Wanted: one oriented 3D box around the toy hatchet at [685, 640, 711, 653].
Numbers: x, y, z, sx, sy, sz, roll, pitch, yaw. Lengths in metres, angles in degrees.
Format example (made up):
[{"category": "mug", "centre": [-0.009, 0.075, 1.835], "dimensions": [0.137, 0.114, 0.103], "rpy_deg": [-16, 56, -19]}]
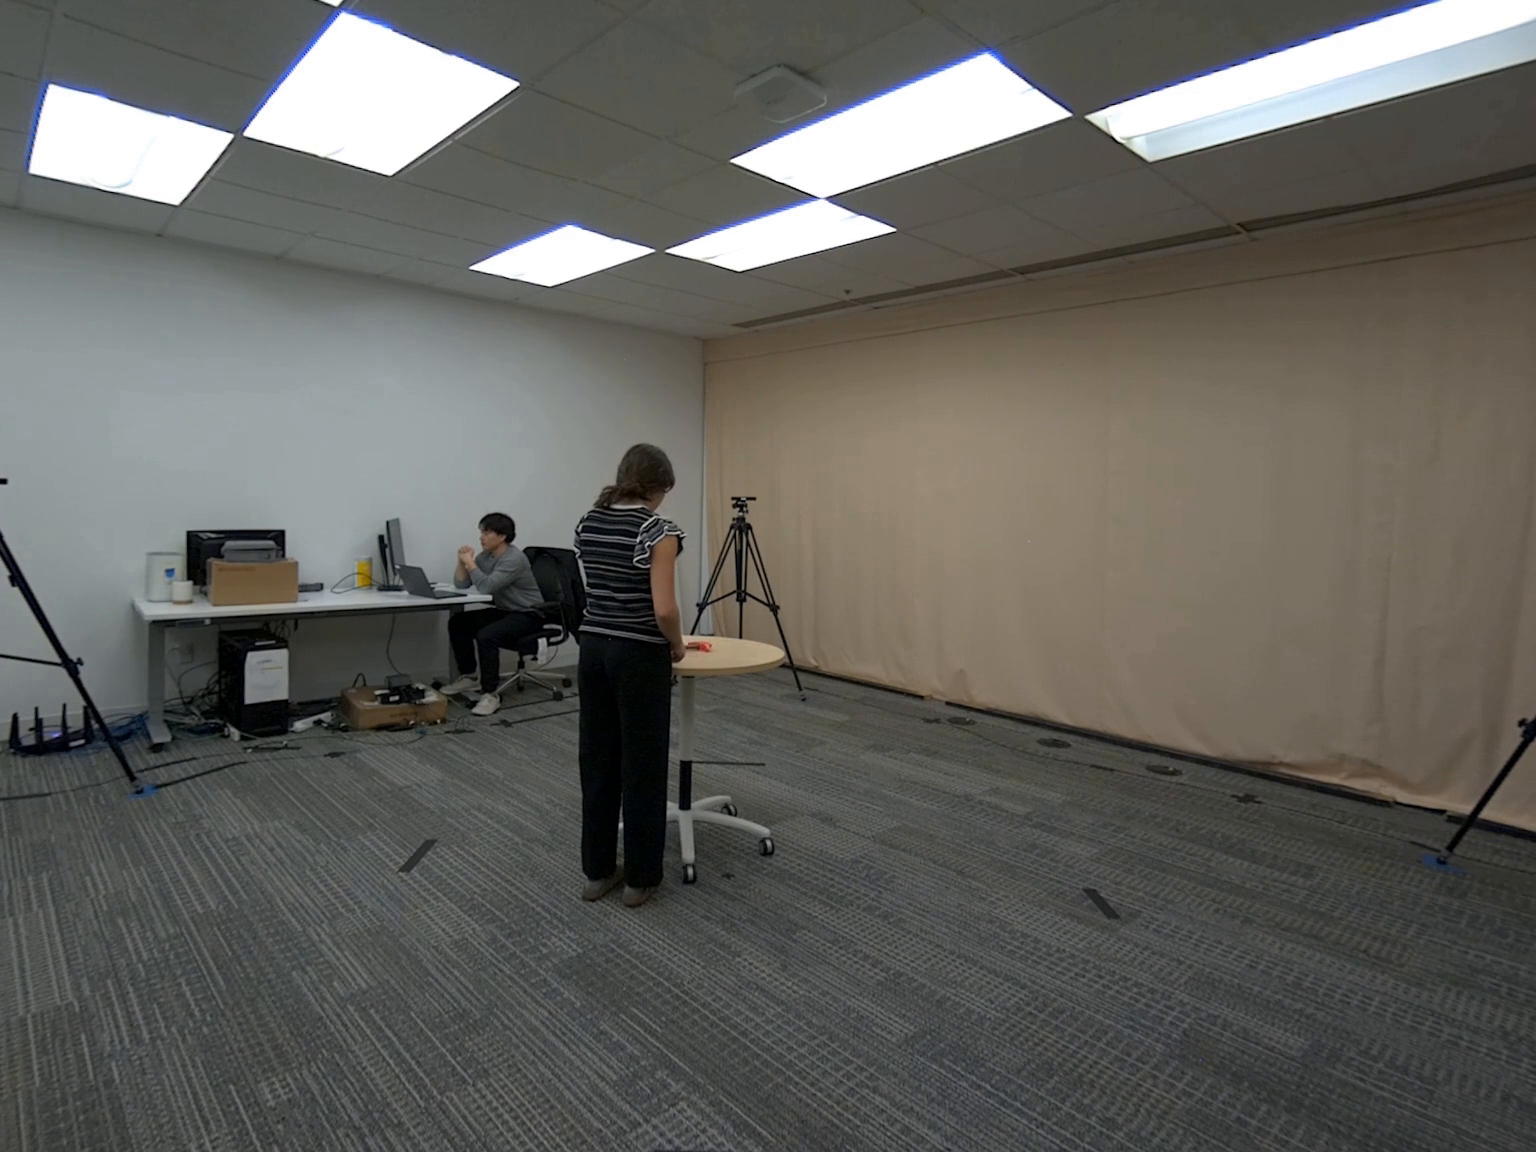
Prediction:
[{"category": "toy hatchet", "centre": [-0.381, 0.281, 3.372], "dimensions": [0.270, 0.029, 0.132], "rpy_deg": [1, 10, -1]}]
